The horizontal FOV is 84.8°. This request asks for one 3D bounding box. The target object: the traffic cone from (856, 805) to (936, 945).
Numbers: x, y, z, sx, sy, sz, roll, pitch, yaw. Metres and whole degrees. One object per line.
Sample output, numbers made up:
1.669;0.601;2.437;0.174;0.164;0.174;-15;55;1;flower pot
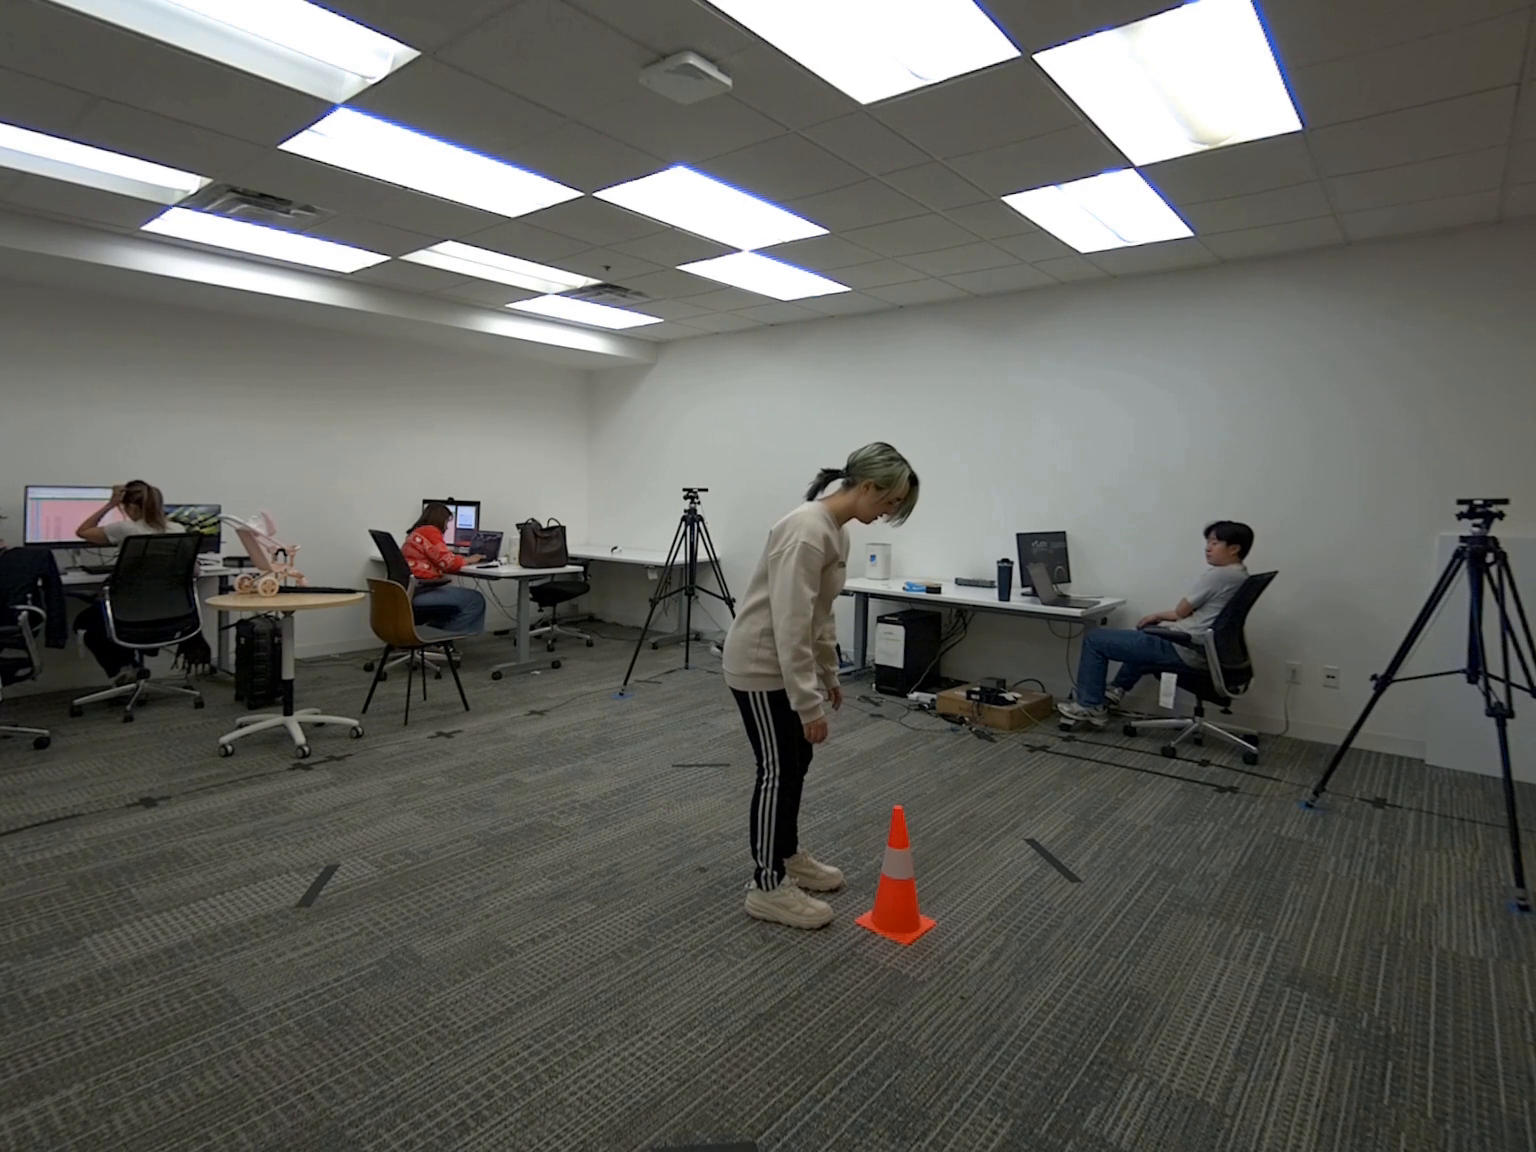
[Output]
0.407;0.936;2.742;0.210;0.382;0.199;3;5;39;traffic cone
